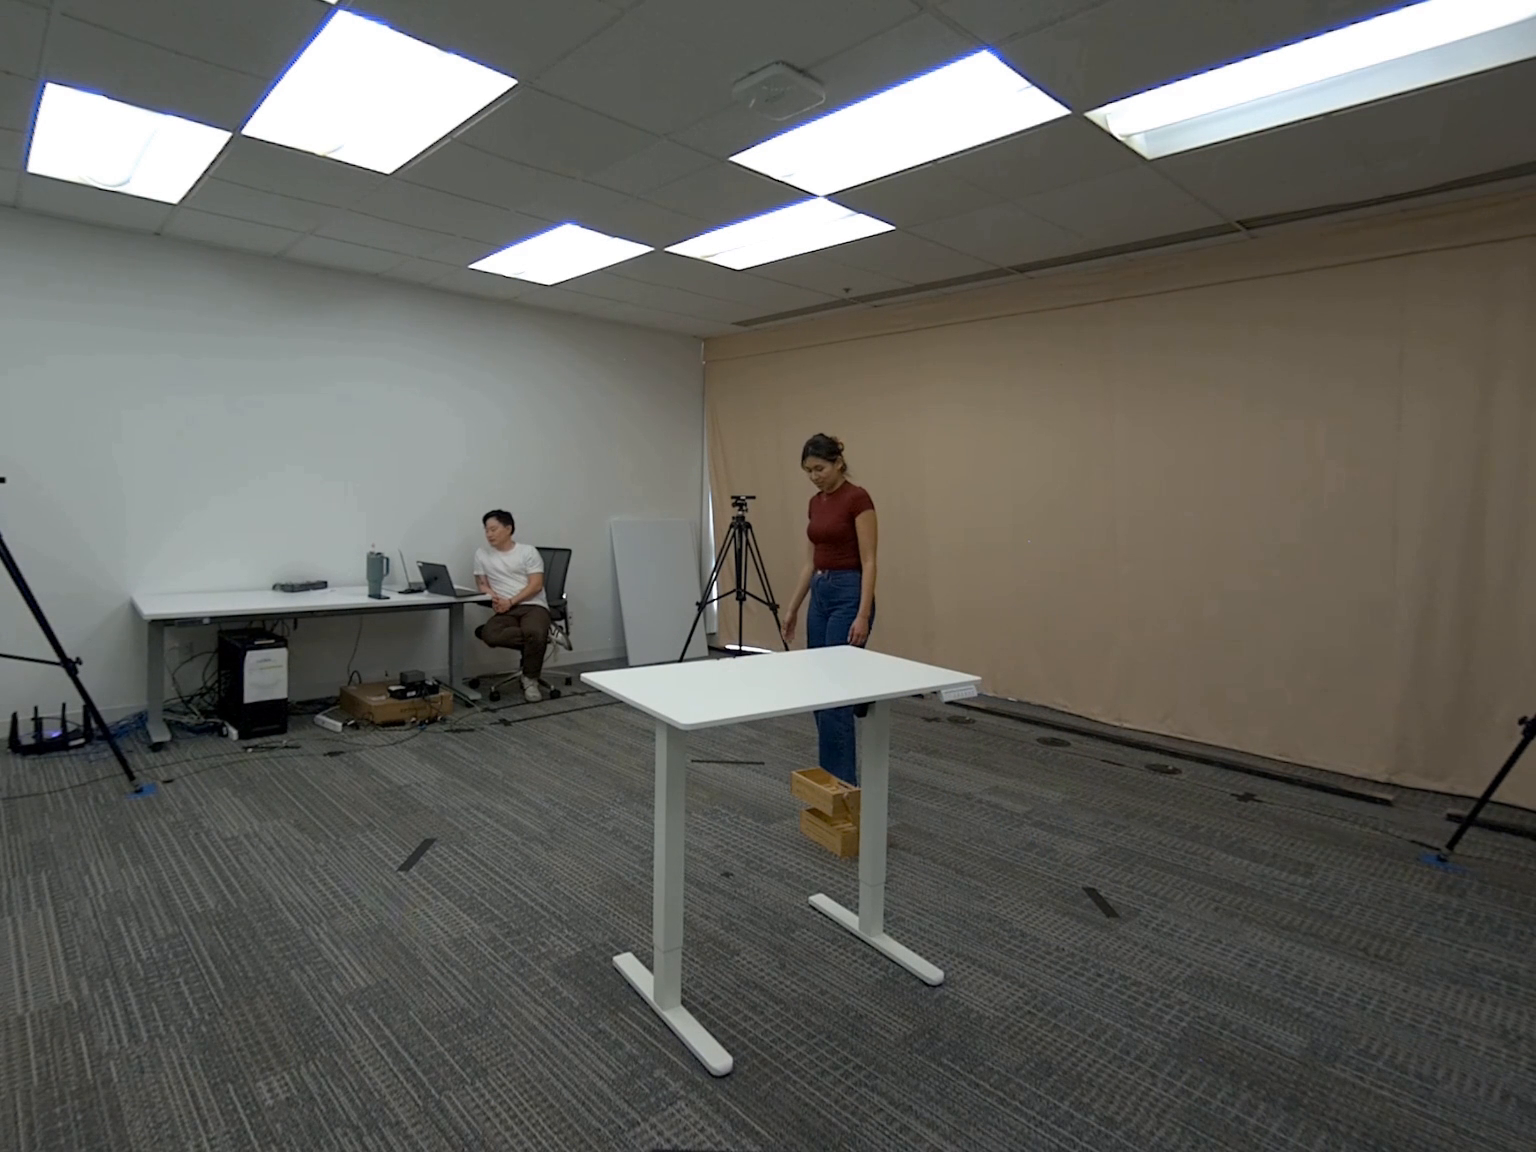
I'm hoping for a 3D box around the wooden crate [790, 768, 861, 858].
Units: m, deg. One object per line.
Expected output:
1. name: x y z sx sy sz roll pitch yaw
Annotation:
1. wooden crate: 0.291 0.950 3.445 0.296 0.272 0.332 -1 5 -30
